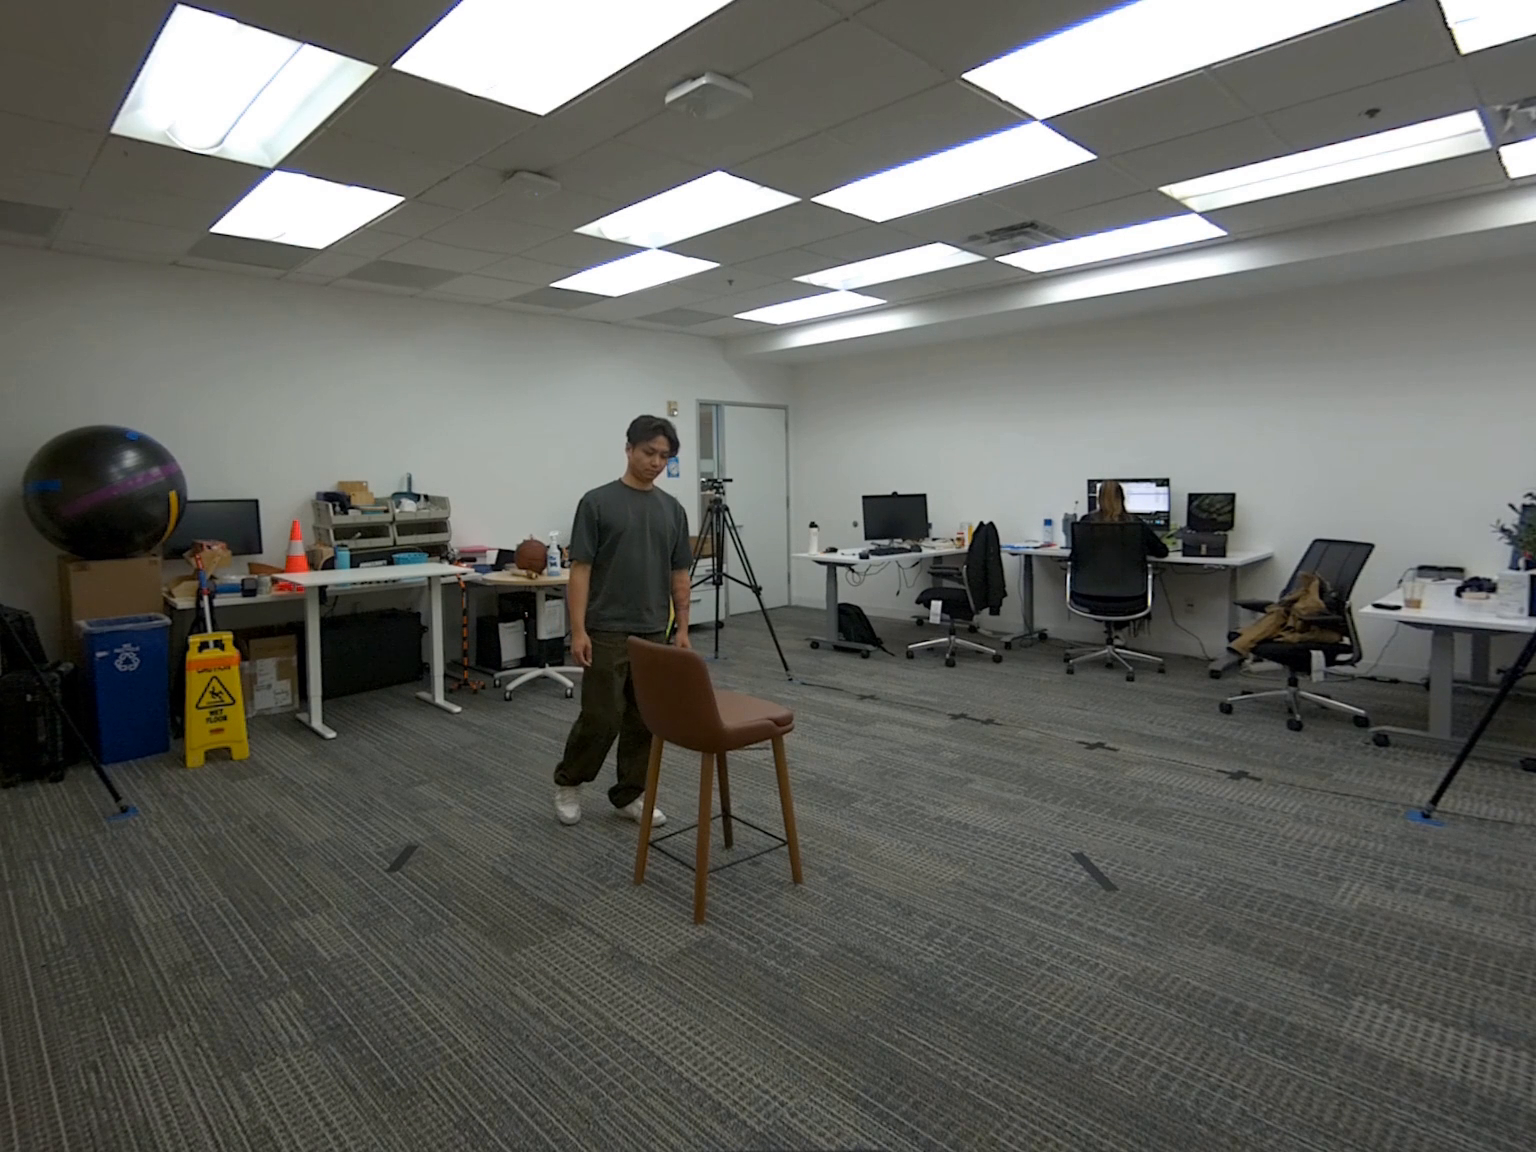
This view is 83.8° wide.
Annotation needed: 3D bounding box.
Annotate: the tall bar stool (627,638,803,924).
[{"bbox_3d":[-0.184,0.631,2.937,0.456,0.885,0.470,-7,7,-40],"label":"tall bar stool"}]
